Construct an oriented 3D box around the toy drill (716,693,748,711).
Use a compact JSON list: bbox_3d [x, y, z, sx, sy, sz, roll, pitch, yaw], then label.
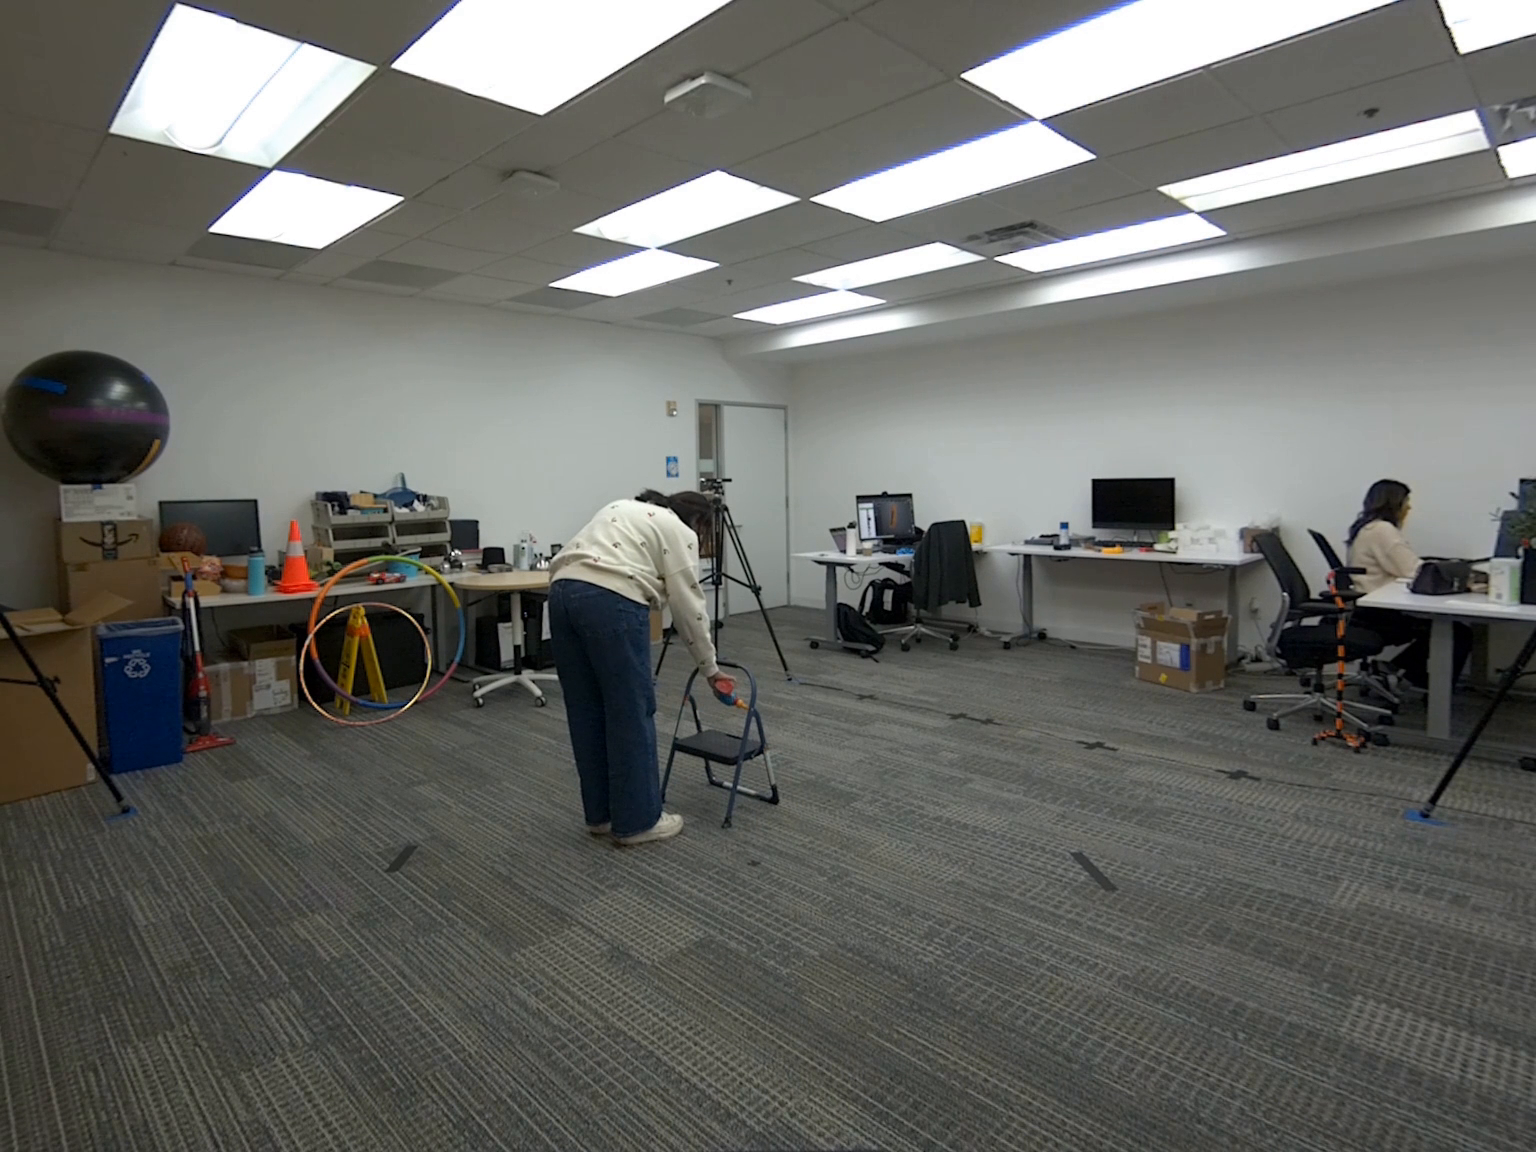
[{"bbox_3d":[-0.146,0.494,3.536,0.173,0.061,0.143,27,-26,14],"label":"toy drill"}]
